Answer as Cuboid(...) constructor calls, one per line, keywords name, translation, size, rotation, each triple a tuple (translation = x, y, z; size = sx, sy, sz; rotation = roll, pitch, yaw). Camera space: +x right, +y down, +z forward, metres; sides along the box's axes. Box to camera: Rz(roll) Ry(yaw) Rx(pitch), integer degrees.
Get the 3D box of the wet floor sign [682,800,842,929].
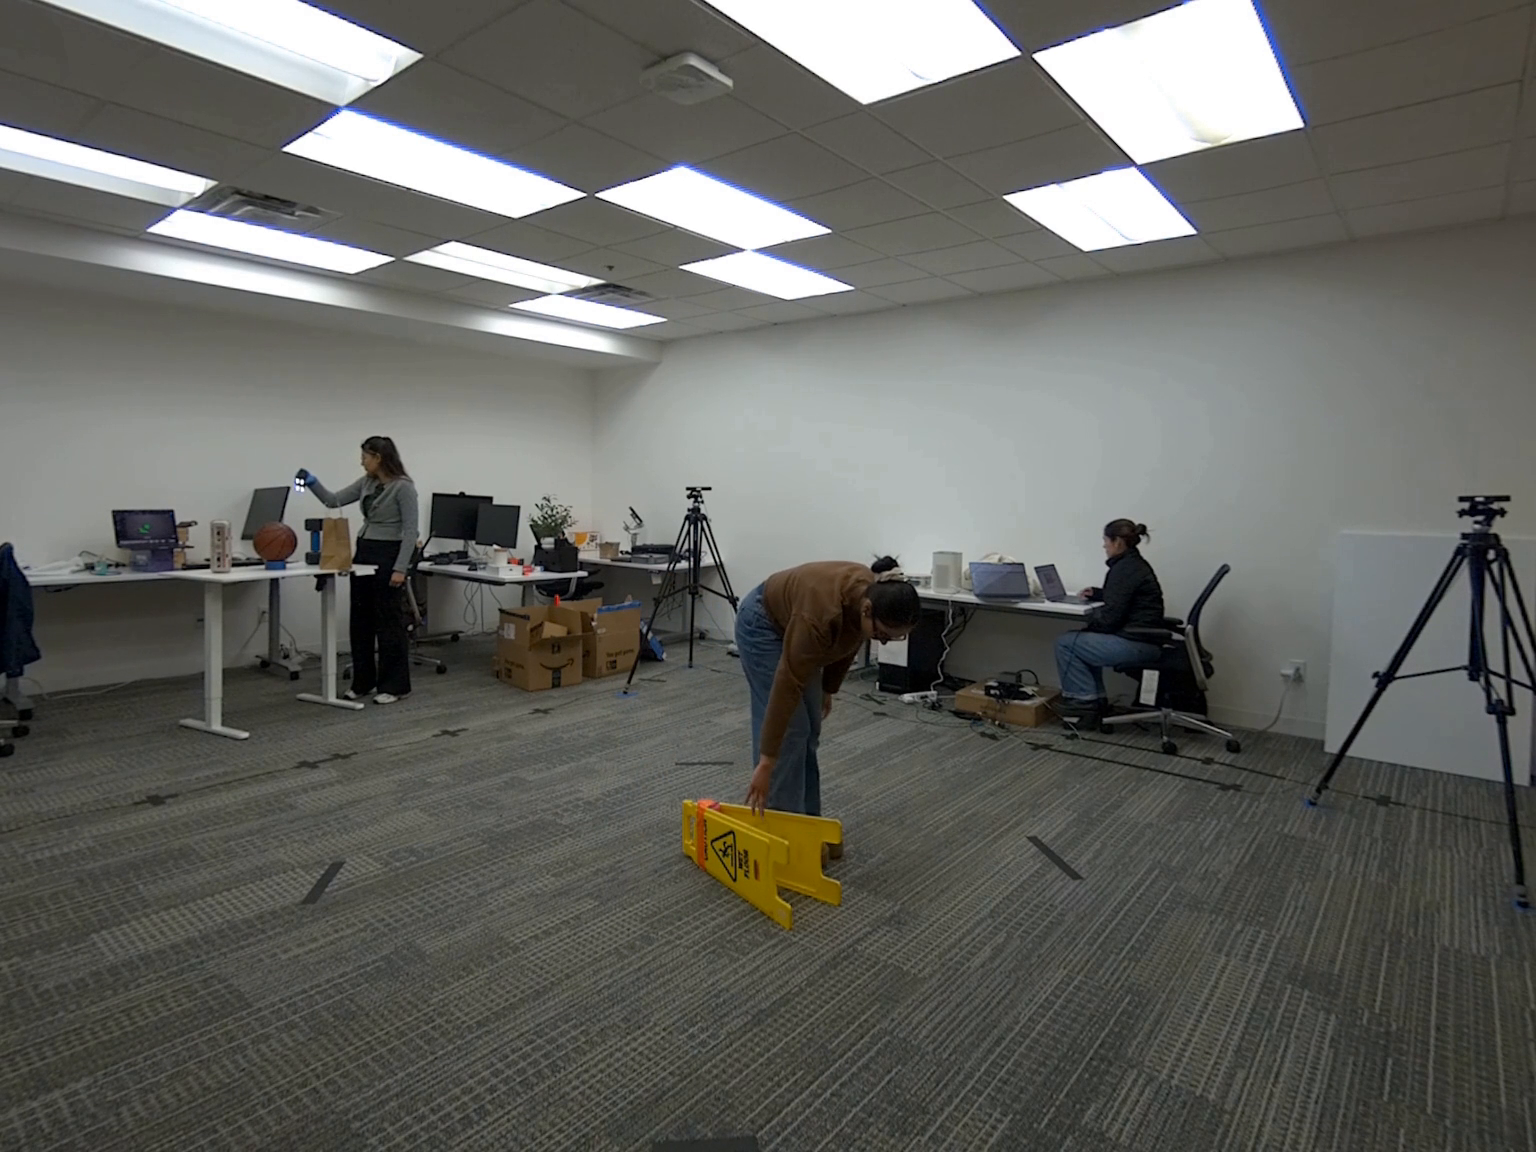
Cuboid(name="wet floor sign", translation=(-0.091, 0.953, 2.988), size=(0.667, 0.282, 0.281), rotation=(2, 4, 44))
